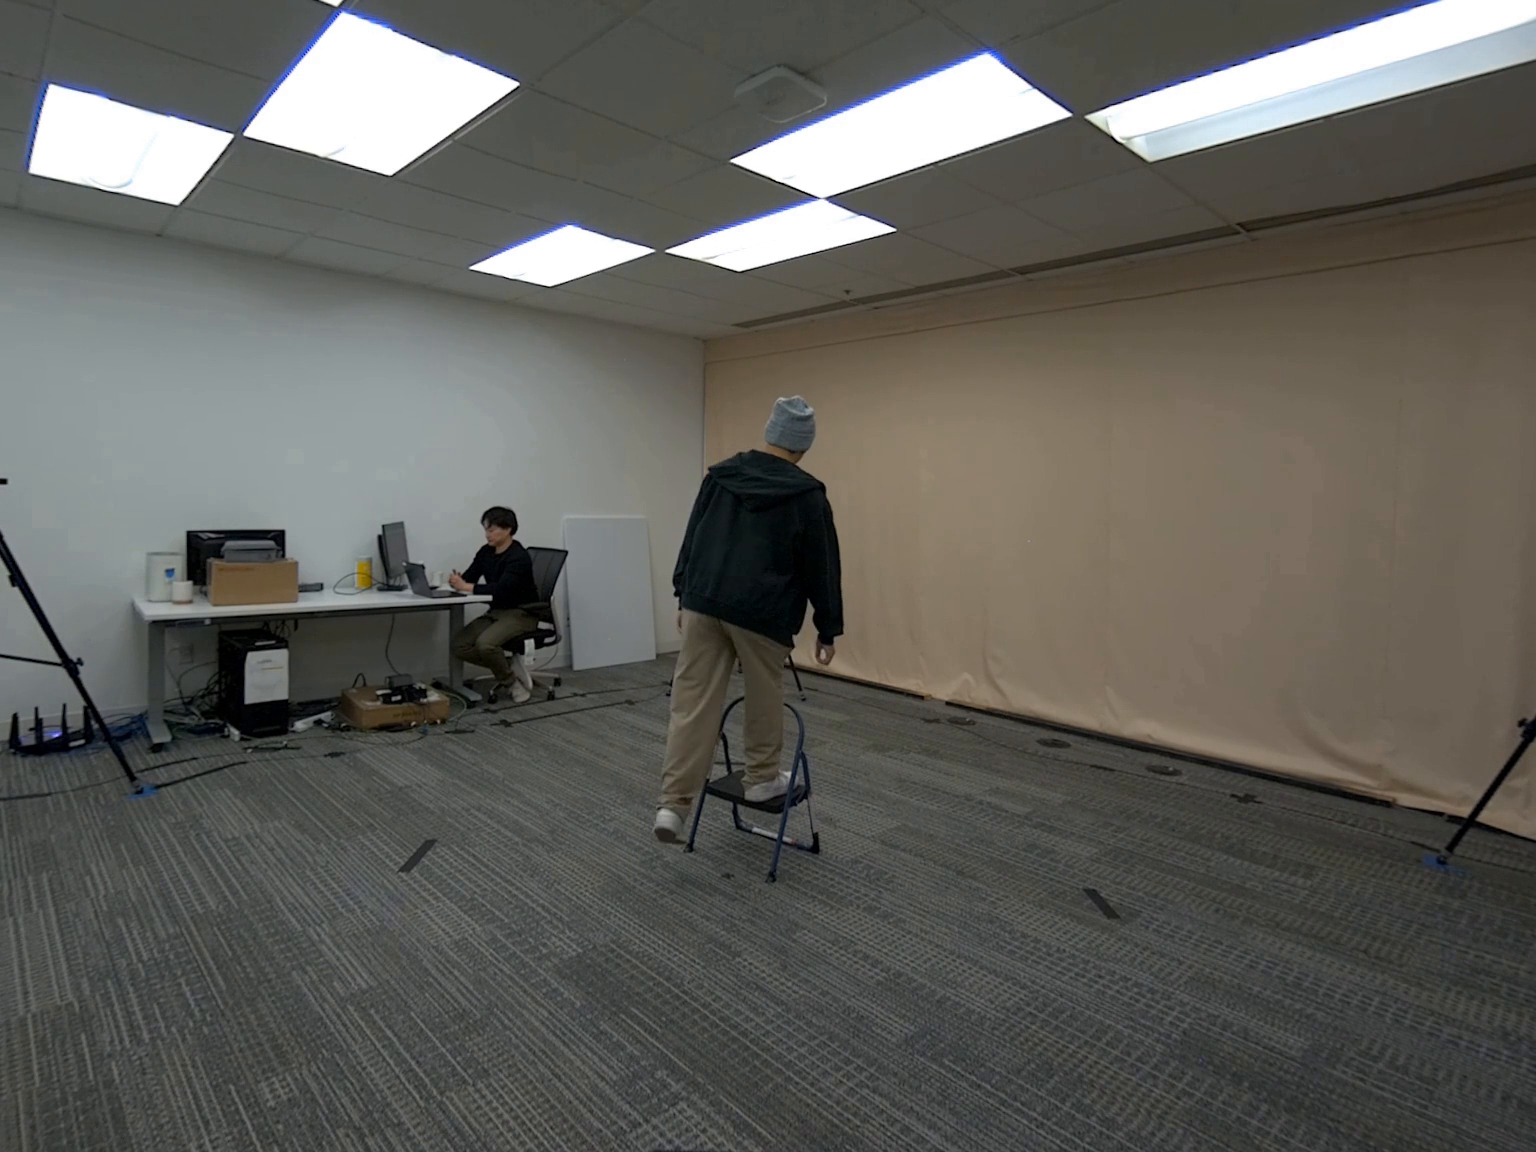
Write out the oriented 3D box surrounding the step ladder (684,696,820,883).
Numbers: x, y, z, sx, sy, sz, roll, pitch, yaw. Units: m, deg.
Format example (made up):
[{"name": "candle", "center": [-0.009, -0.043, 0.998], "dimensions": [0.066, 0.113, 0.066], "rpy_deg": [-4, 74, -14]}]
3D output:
[{"name": "step ladder", "center": [-0.056, 0.790, 3.308], "dimensions": [0.441, 0.605, 0.341], "rpy_deg": [4, 4, 36]}]
